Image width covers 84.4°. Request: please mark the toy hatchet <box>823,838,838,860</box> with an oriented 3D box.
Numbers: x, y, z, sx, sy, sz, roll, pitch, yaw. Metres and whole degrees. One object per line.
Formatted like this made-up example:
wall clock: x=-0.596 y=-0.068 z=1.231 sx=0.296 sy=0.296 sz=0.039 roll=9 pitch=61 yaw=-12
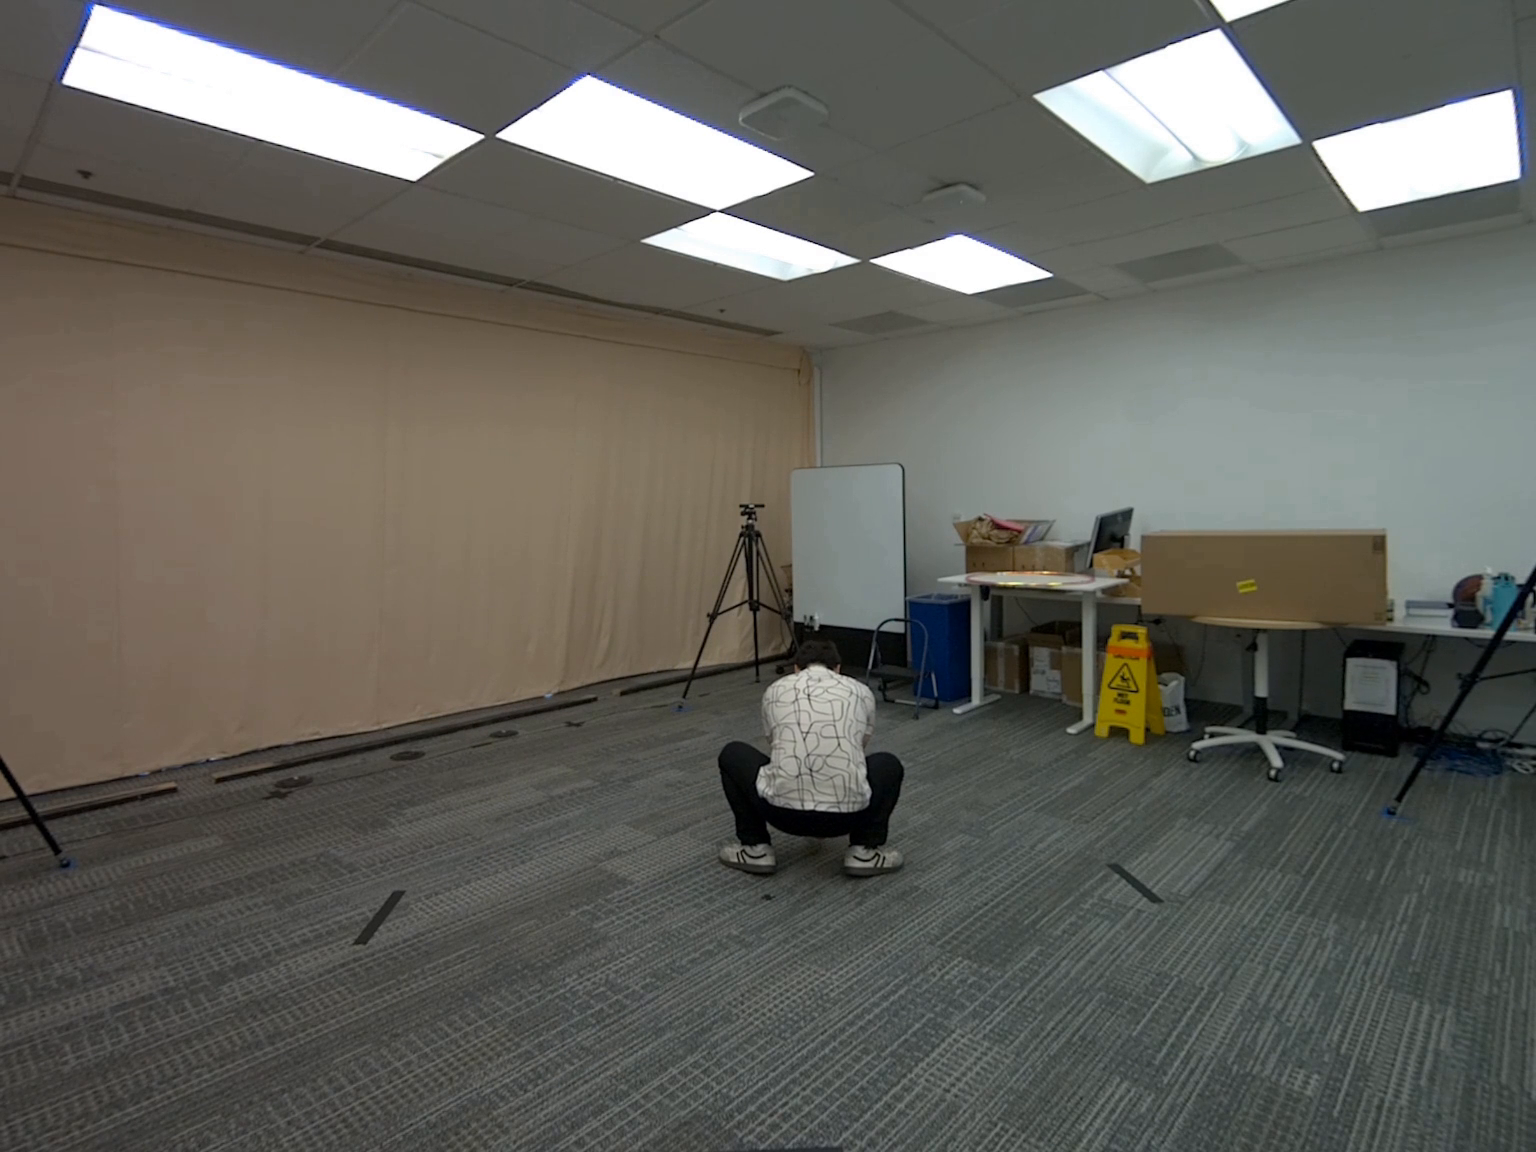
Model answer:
toy hatchet: x=0.250 y=1.042 z=3.531 sx=0.030 sy=0.129 sz=0.271 roll=-19 pitch=13 yaw=8
